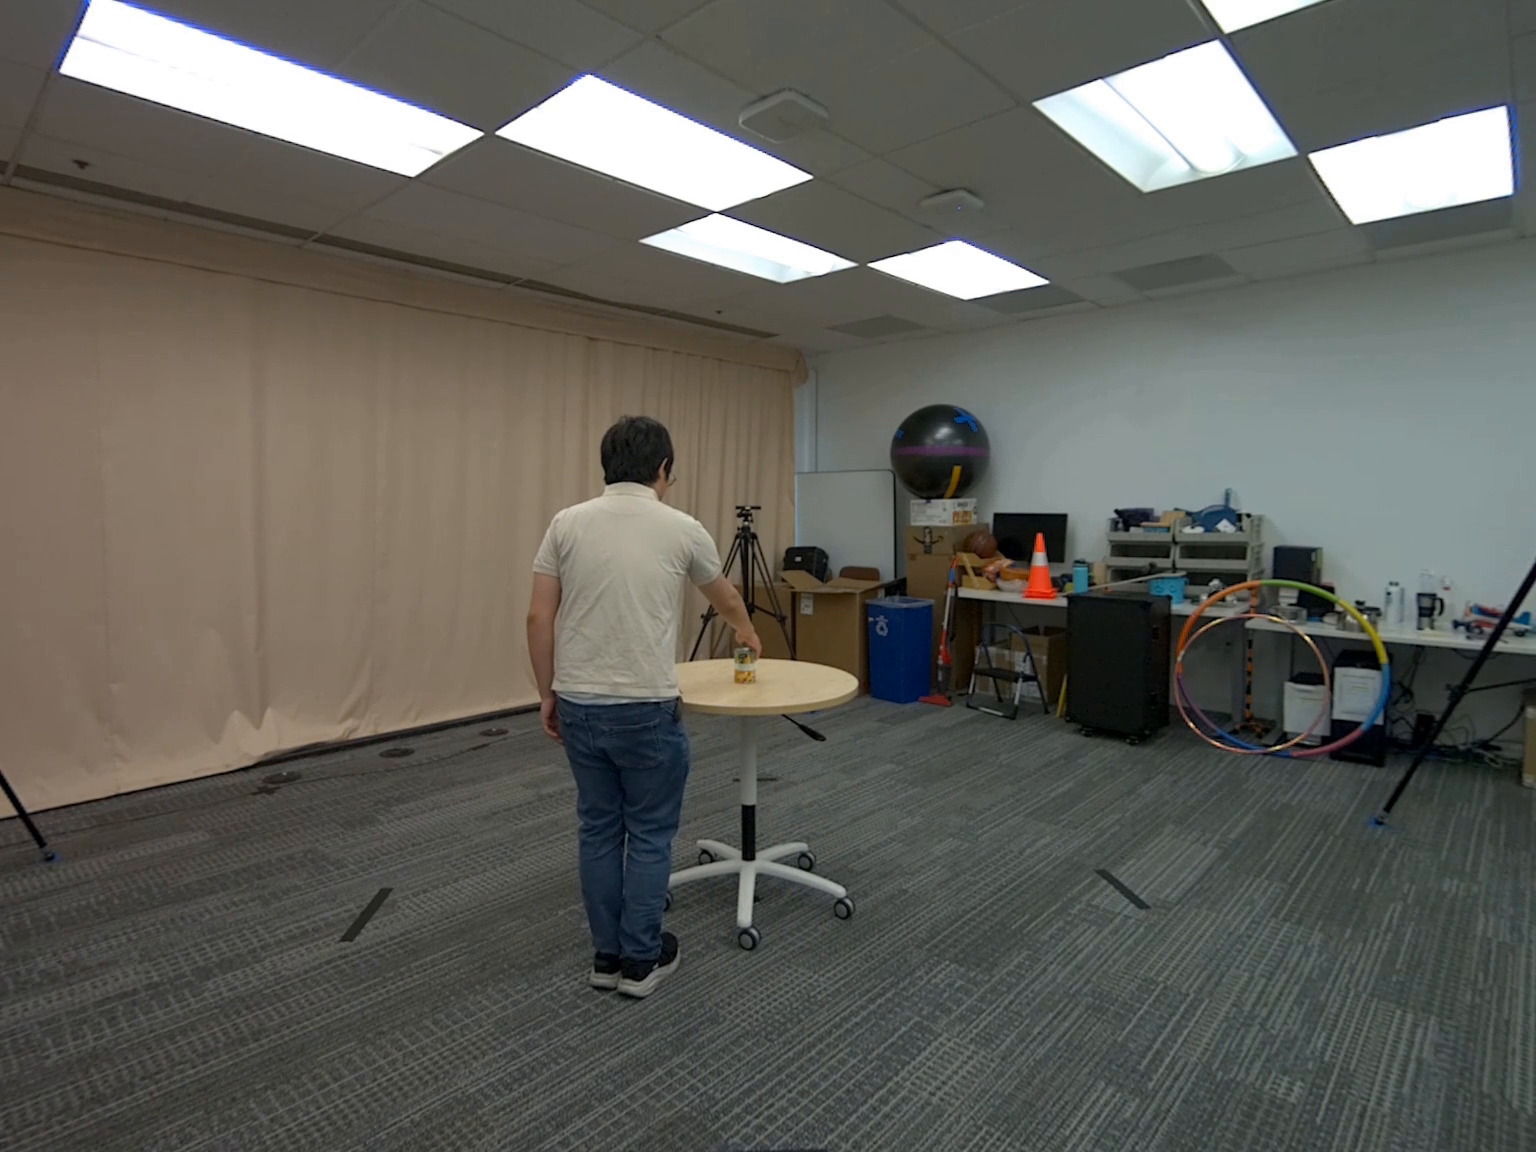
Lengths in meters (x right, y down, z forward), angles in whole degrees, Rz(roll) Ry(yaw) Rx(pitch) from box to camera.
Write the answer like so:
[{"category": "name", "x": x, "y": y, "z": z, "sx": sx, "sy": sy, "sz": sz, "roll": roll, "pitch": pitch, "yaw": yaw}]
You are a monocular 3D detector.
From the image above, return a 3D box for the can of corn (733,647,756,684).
[{"category": "can of corn", "x": -0.080, "y": 0.313, "z": 2.915, "sx": 0.074, "sy": 0.111, "sz": 0.074, "roll": -1, "pitch": 5, "yaw": -2}]
